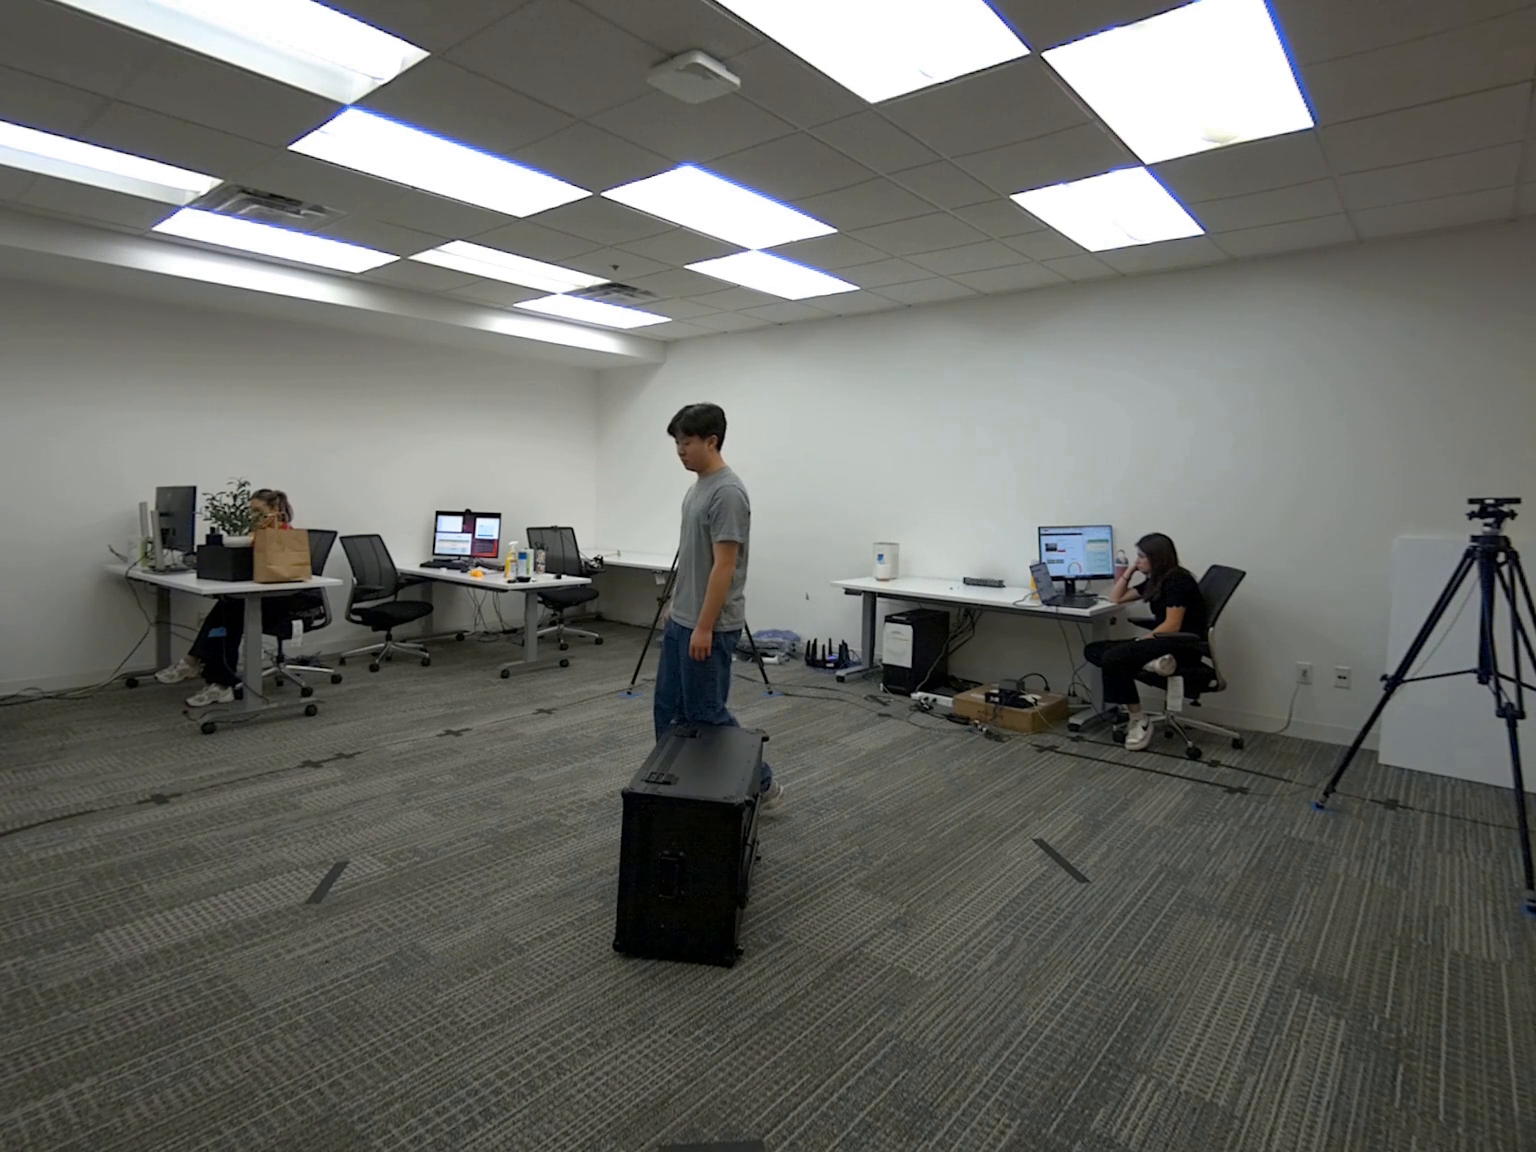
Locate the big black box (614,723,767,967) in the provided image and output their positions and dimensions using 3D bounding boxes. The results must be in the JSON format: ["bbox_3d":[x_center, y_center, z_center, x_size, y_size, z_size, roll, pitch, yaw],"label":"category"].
[{"bbox_3d":[-0.234,0.841,2.820,0.399,0.519,0.858,3,5,6],"label":"big black box"}]
